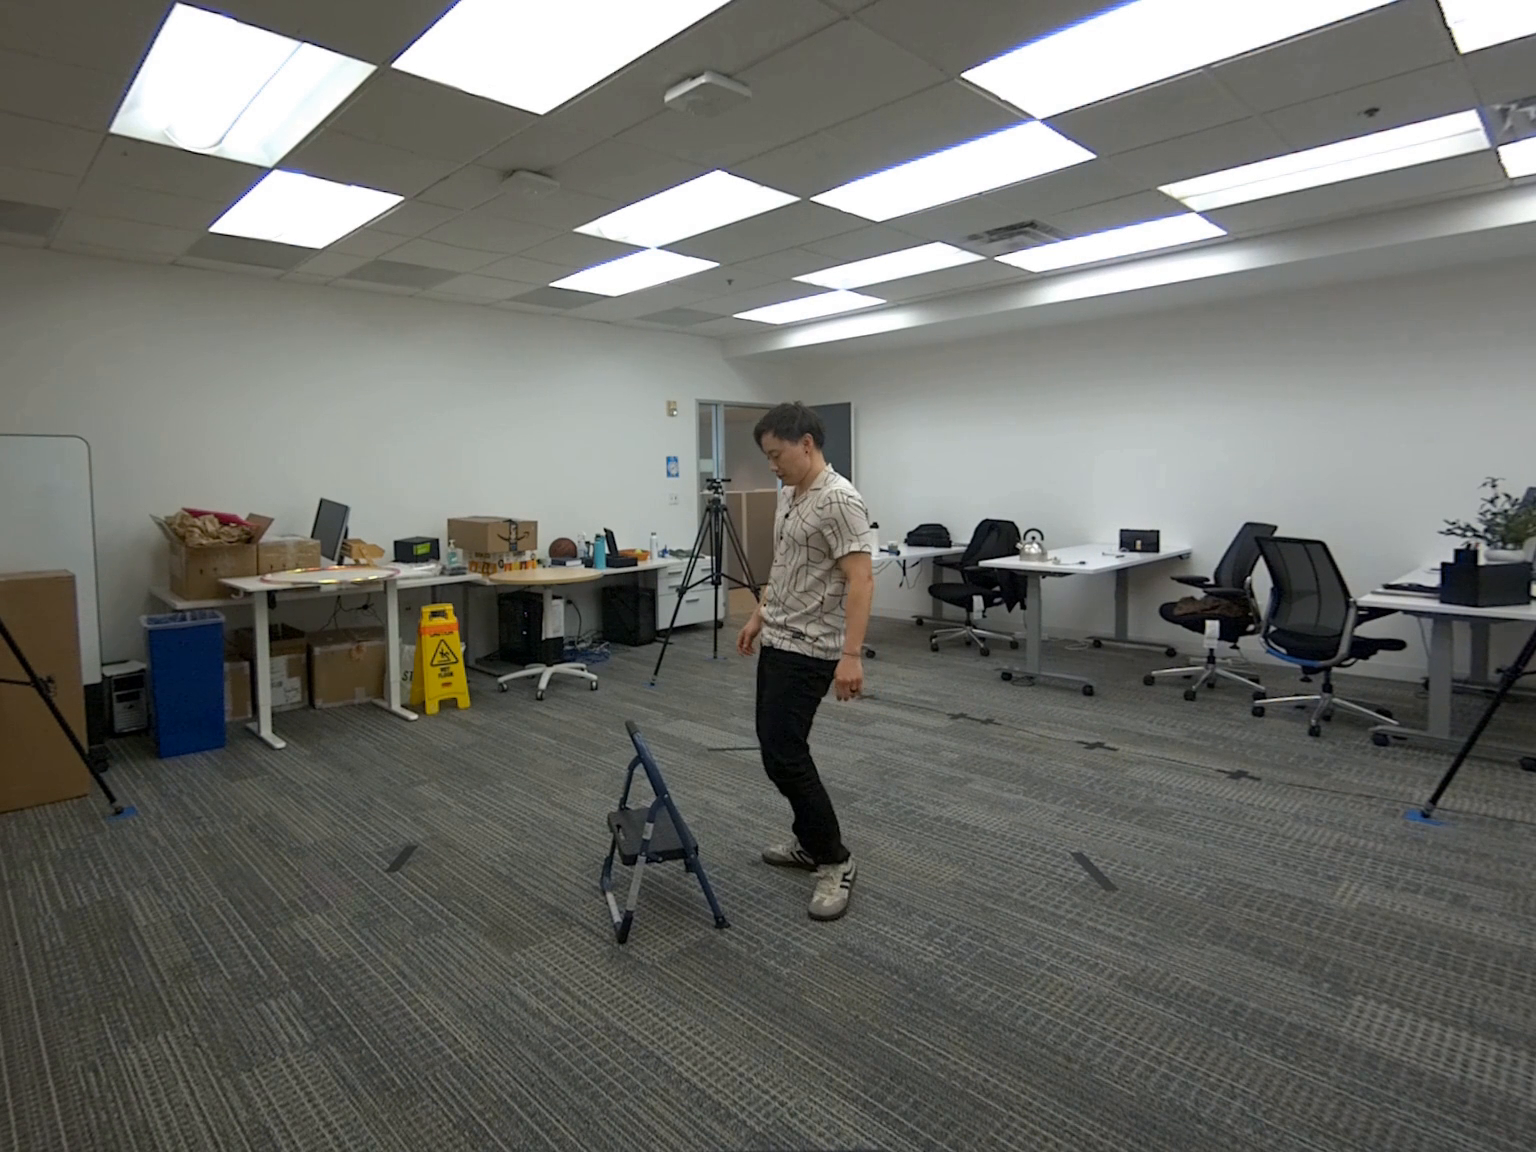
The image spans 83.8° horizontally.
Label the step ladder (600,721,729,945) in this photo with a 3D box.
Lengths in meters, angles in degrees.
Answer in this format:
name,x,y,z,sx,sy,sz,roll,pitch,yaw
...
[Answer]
name,x,y,z,sx,sy,sz,roll,pitch,yaw
step ladder,-0.358,0.783,2.800,0.344,0.604,0.439,-3,5,-18
